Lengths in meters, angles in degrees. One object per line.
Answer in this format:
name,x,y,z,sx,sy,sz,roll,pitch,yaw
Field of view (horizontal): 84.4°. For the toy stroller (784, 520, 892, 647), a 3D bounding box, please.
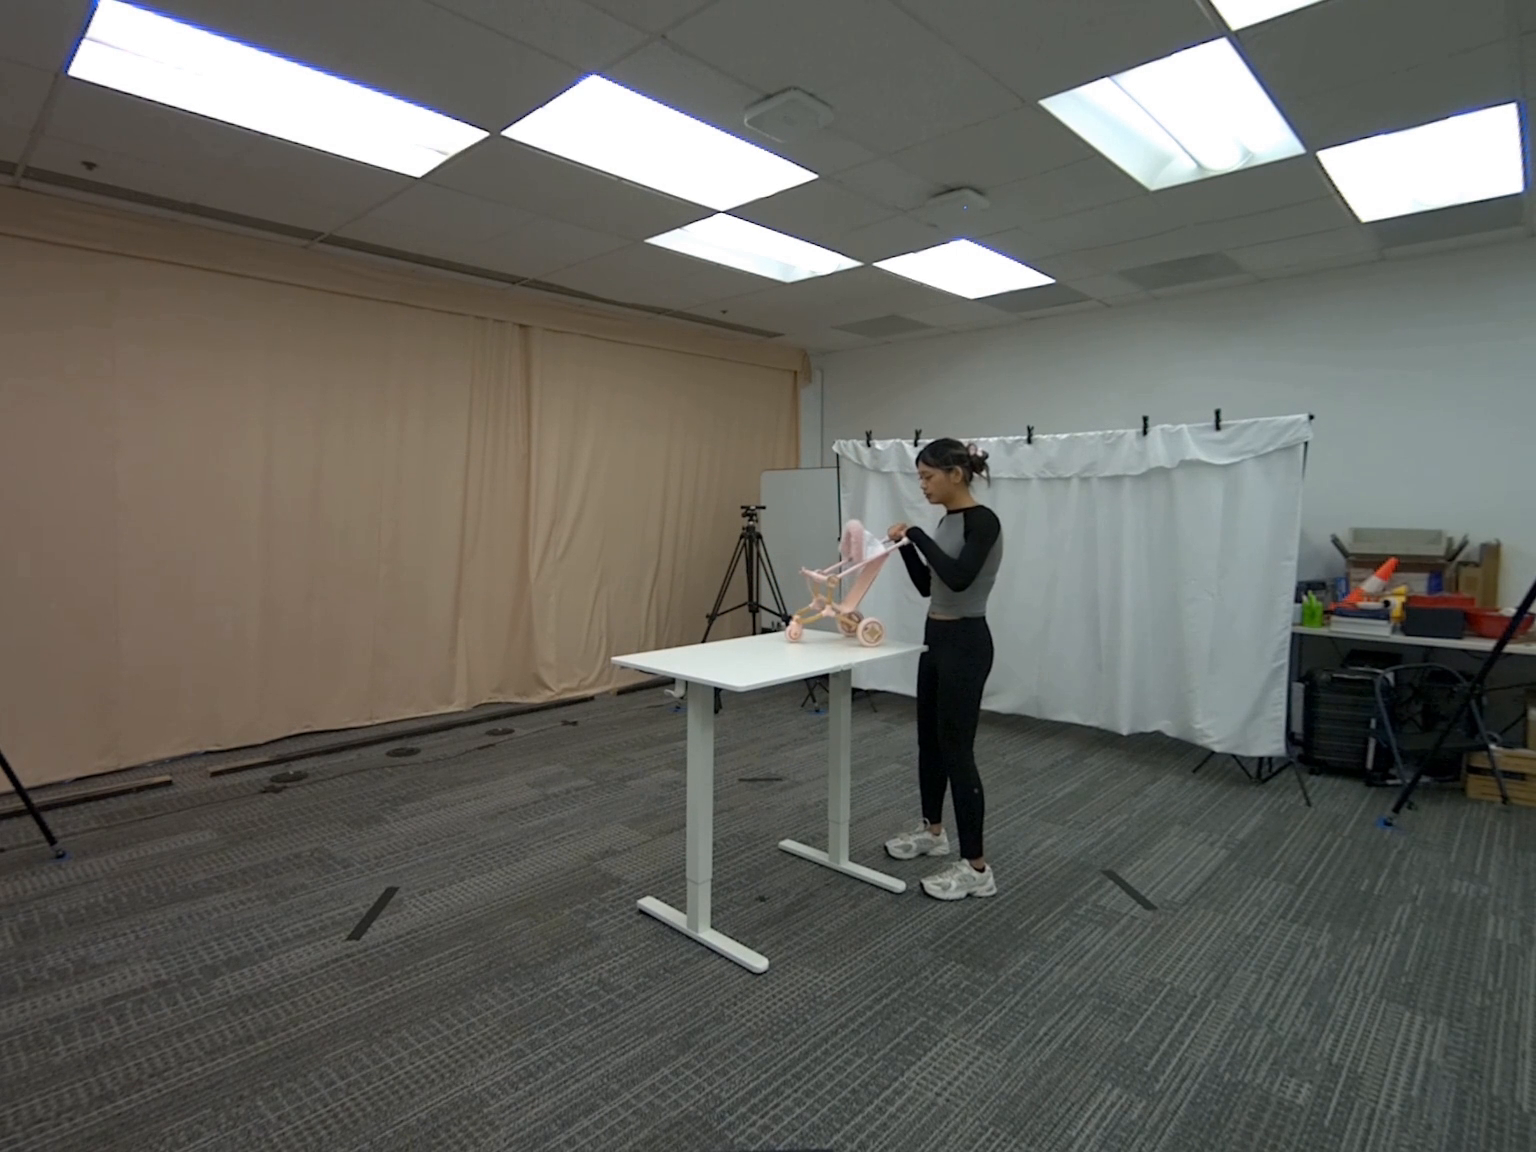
toy stroller,0.292,0.029,3.146,0.339,0.534,0.283,16,2,-5
